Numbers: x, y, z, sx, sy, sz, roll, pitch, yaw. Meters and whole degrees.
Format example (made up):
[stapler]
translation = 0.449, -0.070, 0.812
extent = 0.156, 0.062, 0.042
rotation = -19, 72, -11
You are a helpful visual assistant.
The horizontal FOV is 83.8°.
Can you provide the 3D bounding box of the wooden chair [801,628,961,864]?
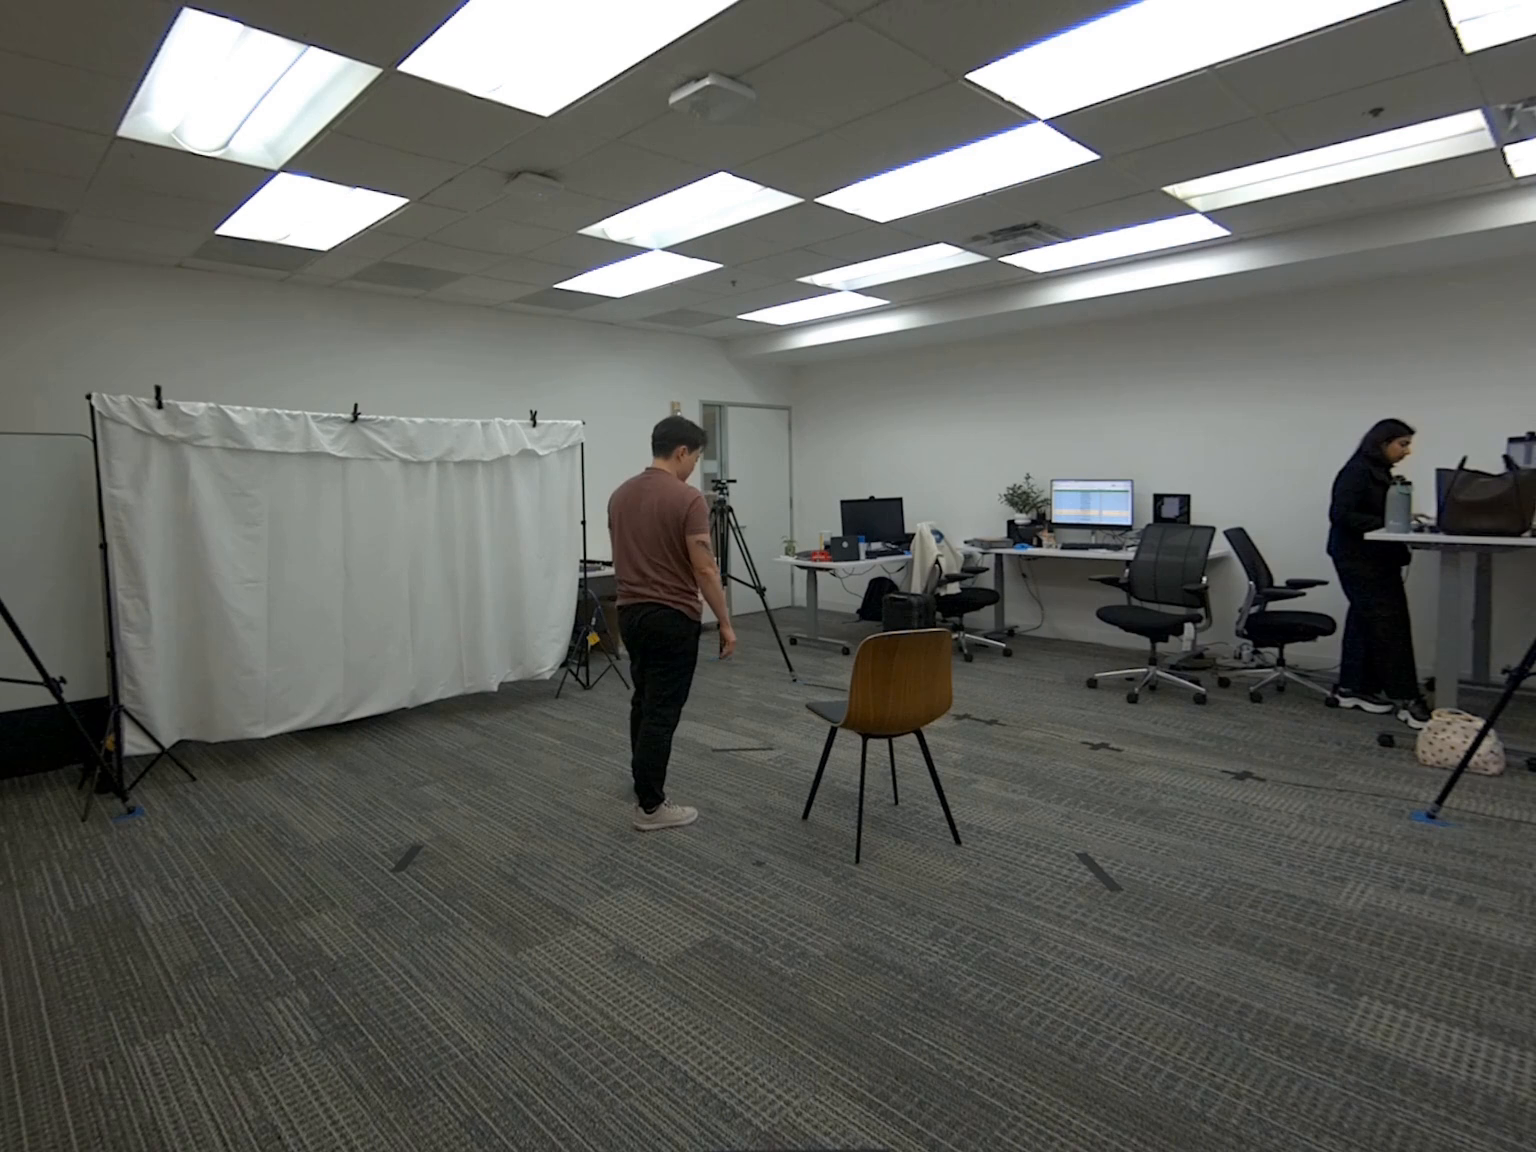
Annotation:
[wooden chair]
translation = 0.422, 0.584, 3.351
extent = 0.469, 0.871, 0.537
rotation = -3, 8, -22
